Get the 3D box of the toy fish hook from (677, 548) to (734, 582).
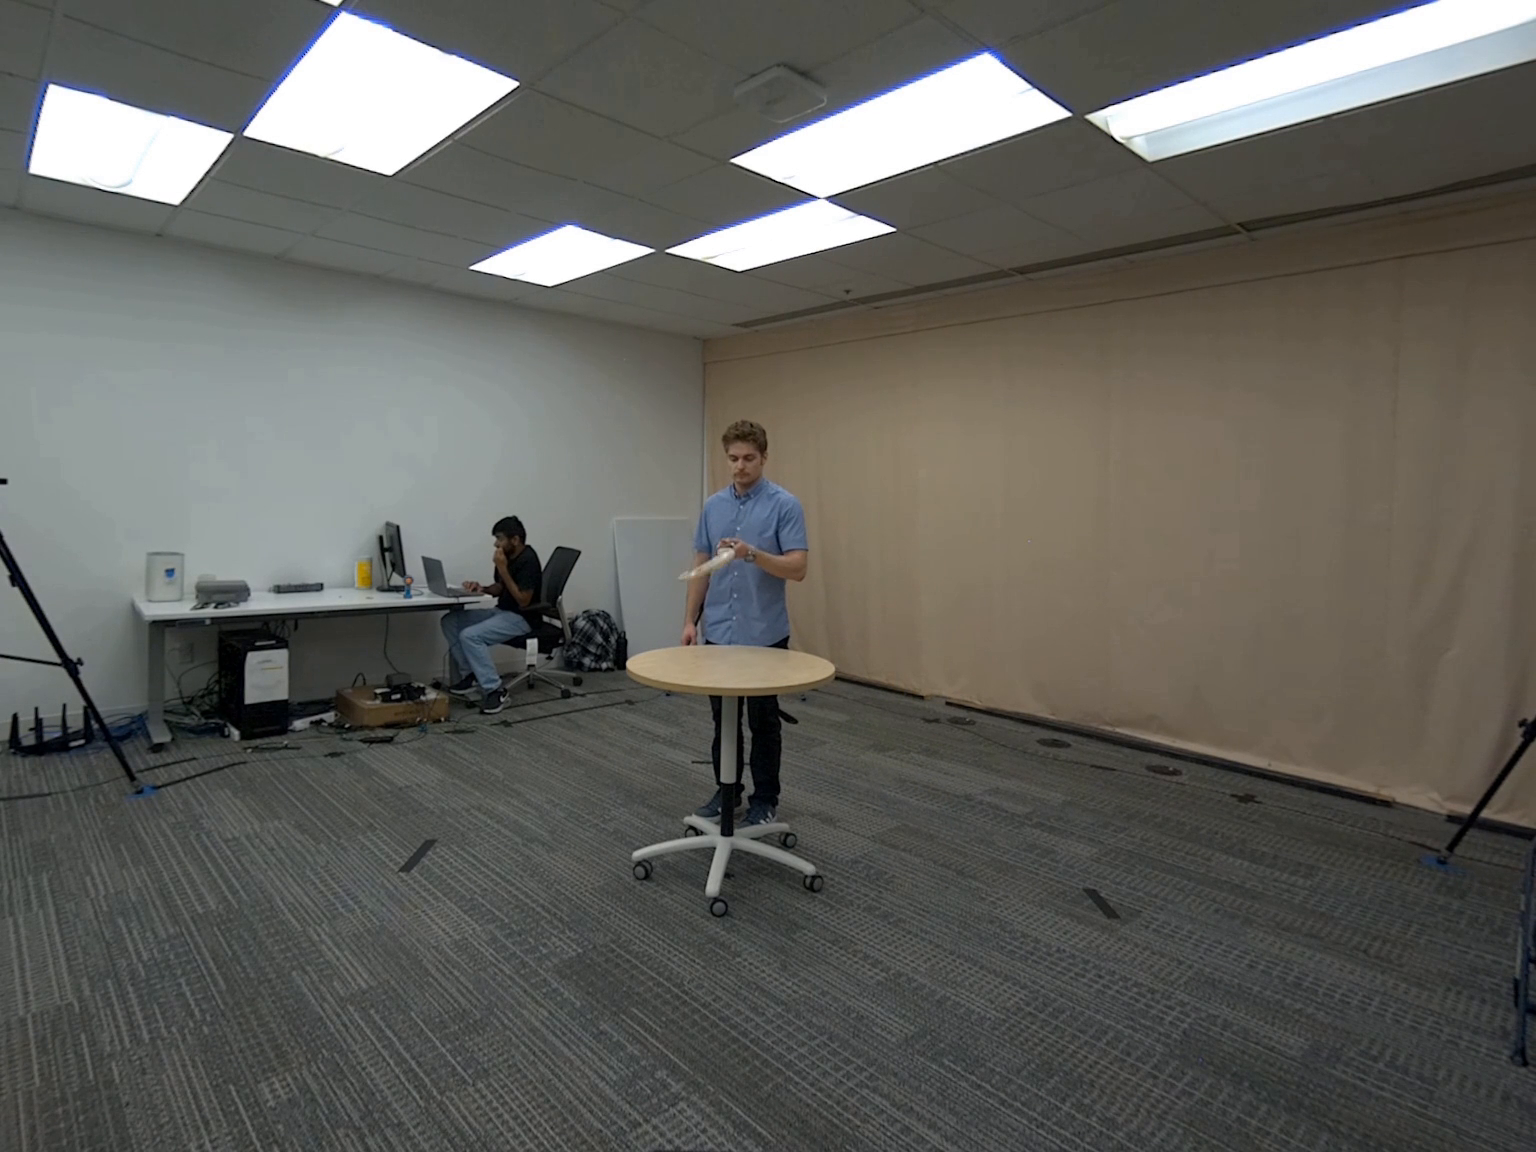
[{"bbox_3d":[-0.228,-0.059,3.069,0.225,0.048,0.507,-22,7,7],"label":"toy fish hook"}]
